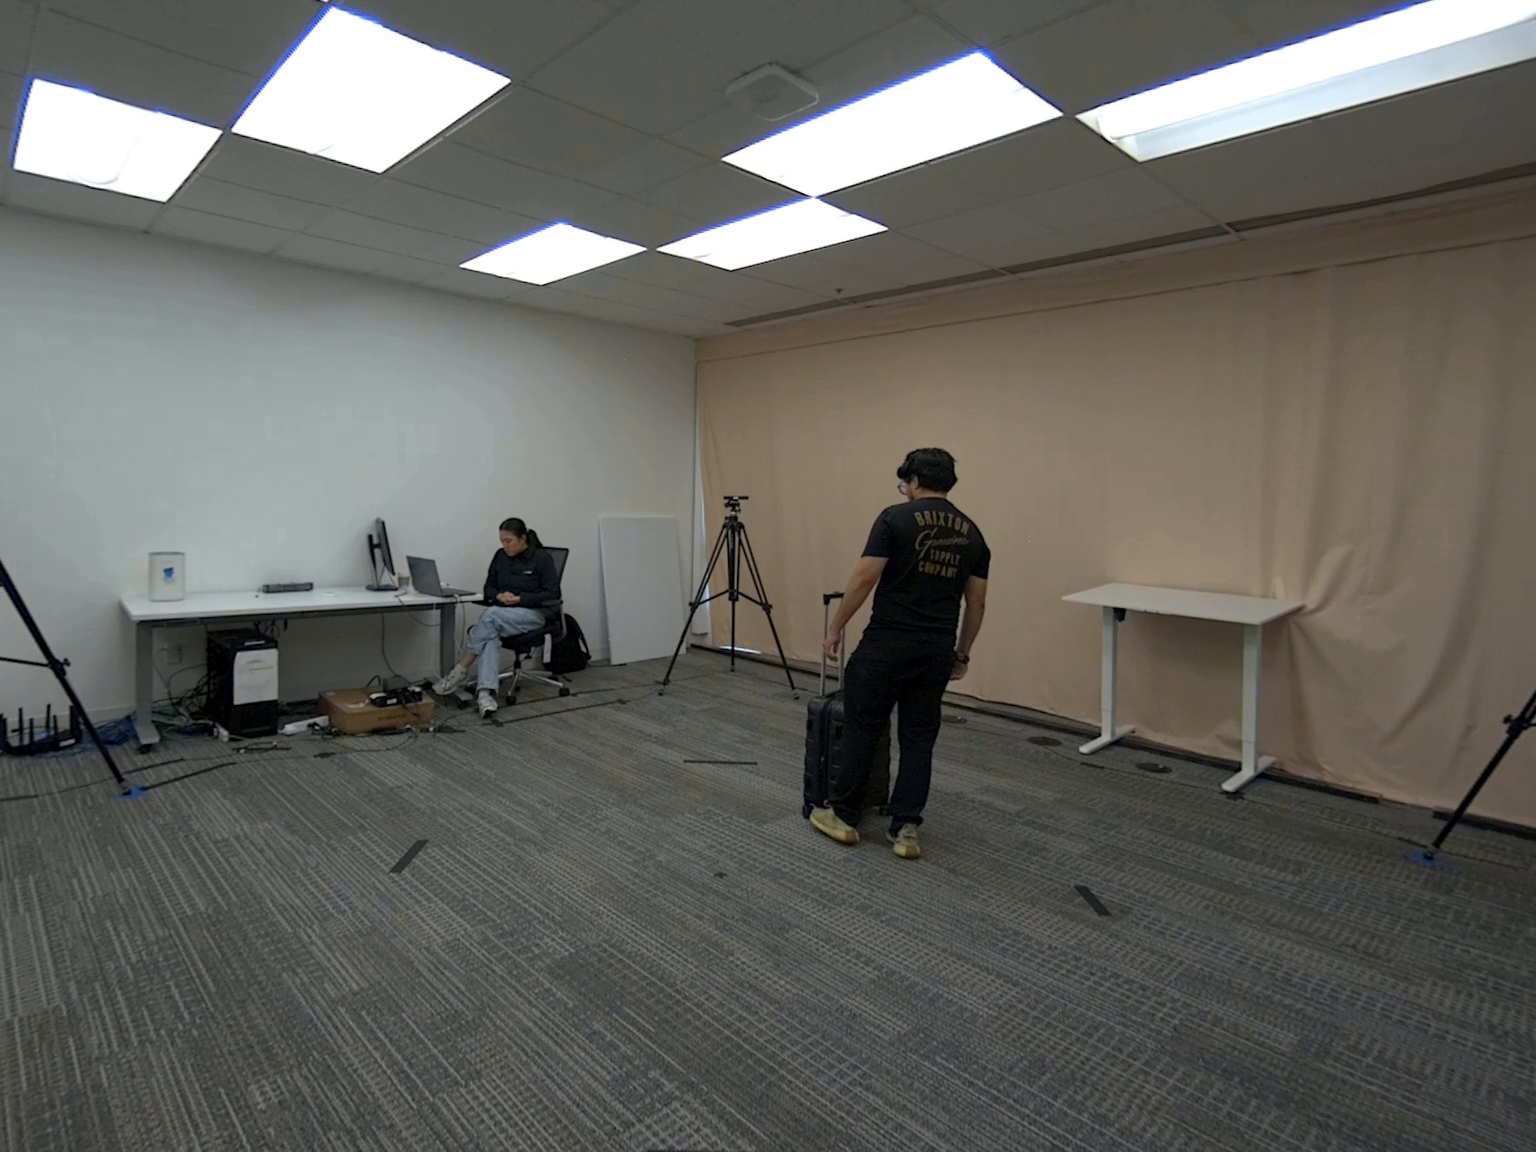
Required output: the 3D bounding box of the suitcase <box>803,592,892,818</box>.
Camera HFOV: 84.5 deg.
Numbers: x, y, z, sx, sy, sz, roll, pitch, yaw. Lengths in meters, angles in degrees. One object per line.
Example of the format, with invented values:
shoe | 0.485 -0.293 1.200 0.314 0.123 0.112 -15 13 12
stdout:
suitcase | 0.360 0.579 3.728 0.264 0.976 0.375 6 5 42
